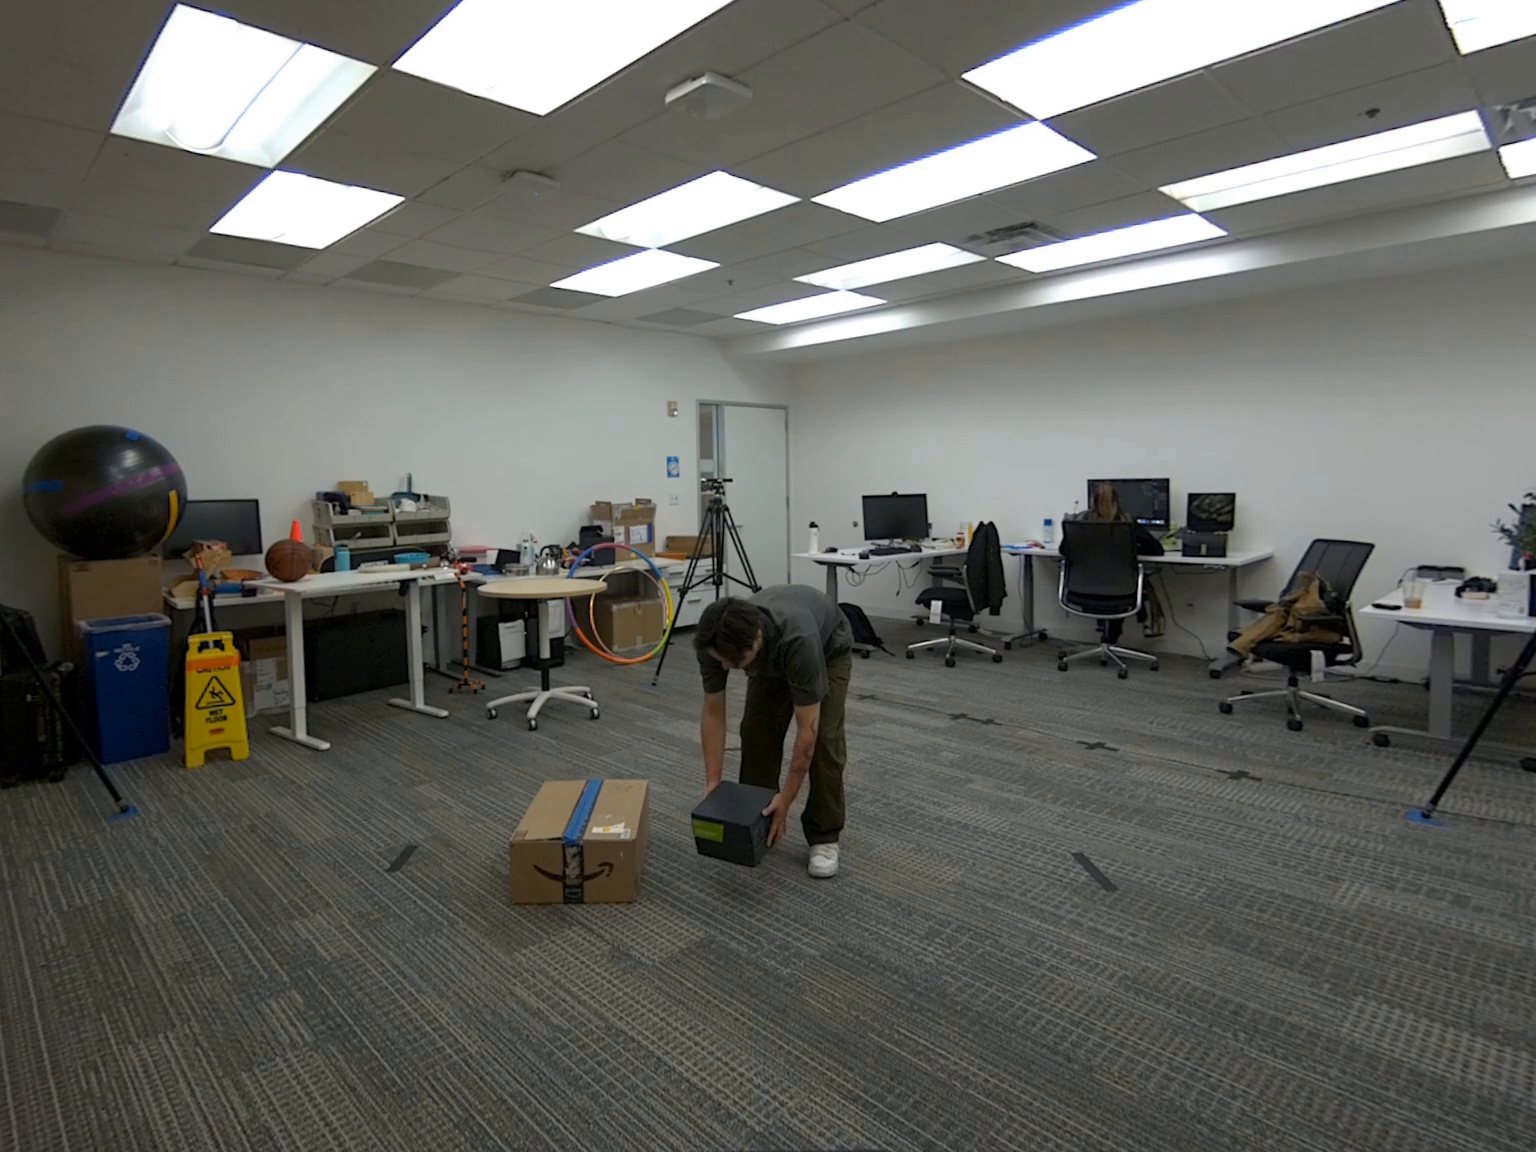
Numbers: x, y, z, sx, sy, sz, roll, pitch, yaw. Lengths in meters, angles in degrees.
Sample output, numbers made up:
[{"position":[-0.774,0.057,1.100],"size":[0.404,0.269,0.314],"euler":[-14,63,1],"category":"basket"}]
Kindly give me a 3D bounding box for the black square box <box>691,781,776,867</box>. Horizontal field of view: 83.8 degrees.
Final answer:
[{"position":[-0.102,0.831,2.871],"size":[0.234,0.153,0.214],"euler":[2,18,30],"category":"black square box"}]
